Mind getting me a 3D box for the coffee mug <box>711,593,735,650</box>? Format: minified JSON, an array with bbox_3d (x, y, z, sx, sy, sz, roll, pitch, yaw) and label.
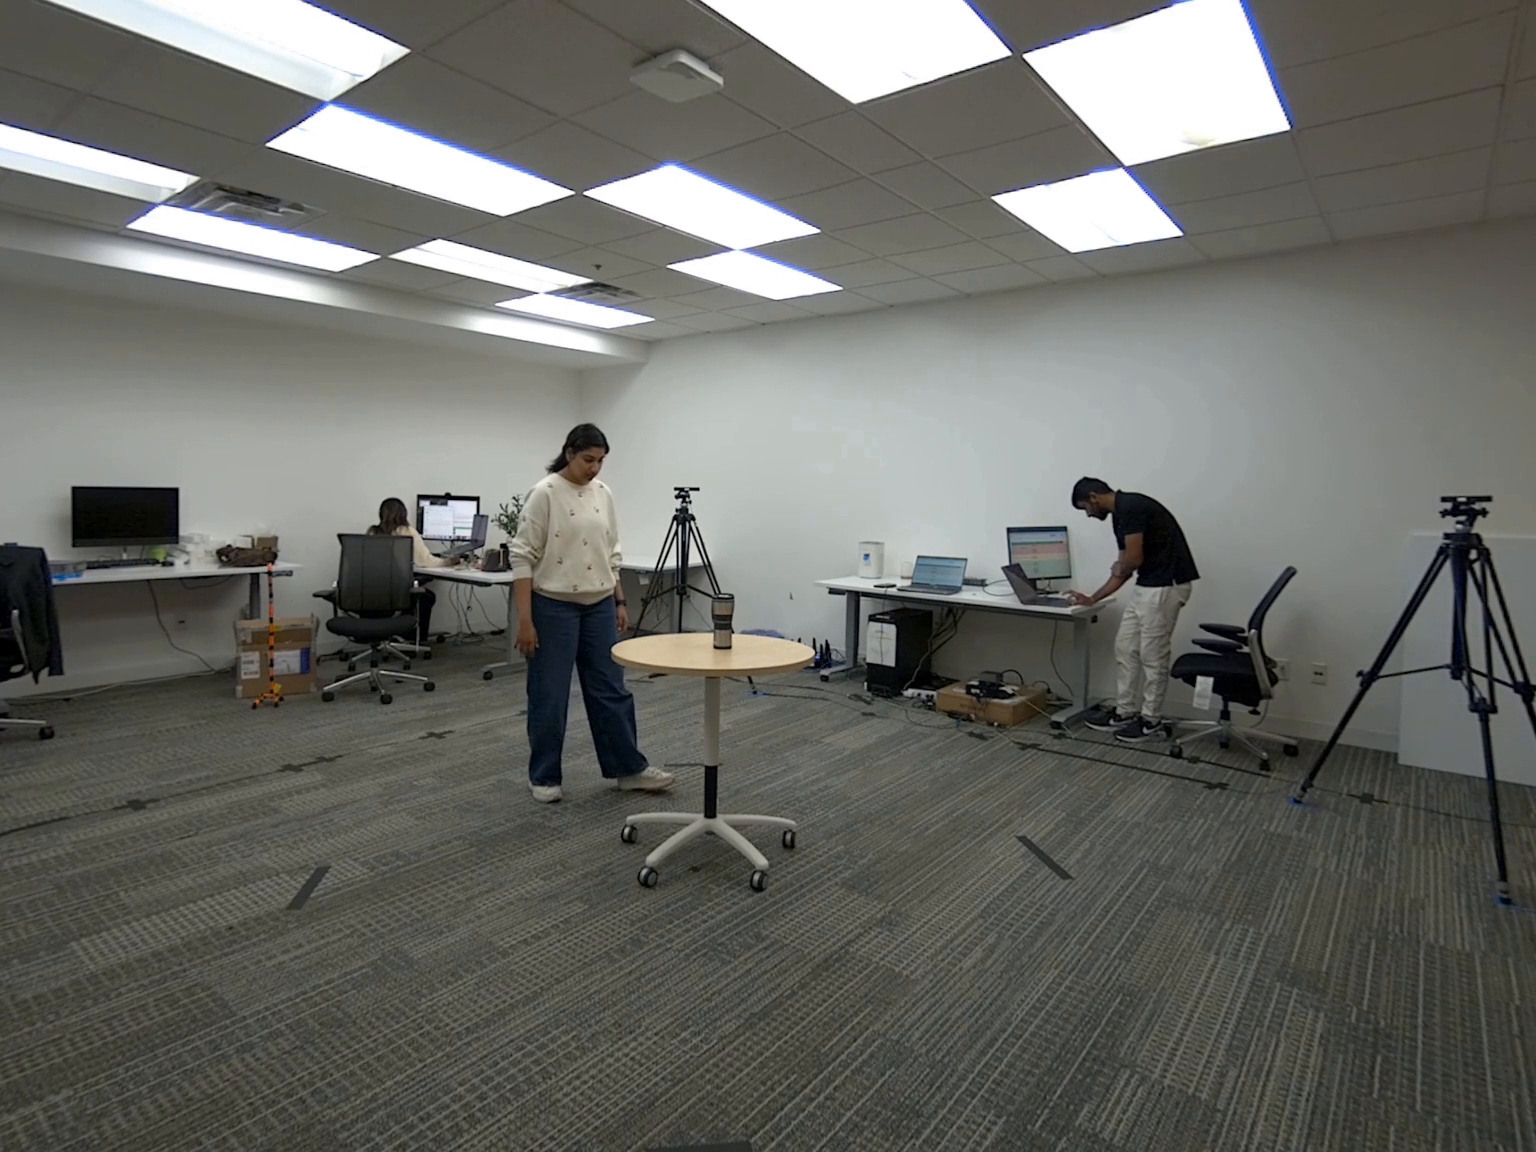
[{"bbox_3d":[-0.178,0.170,3.254,0.089,0.202,0.121,0,6,10],"label":"coffee mug"}]
